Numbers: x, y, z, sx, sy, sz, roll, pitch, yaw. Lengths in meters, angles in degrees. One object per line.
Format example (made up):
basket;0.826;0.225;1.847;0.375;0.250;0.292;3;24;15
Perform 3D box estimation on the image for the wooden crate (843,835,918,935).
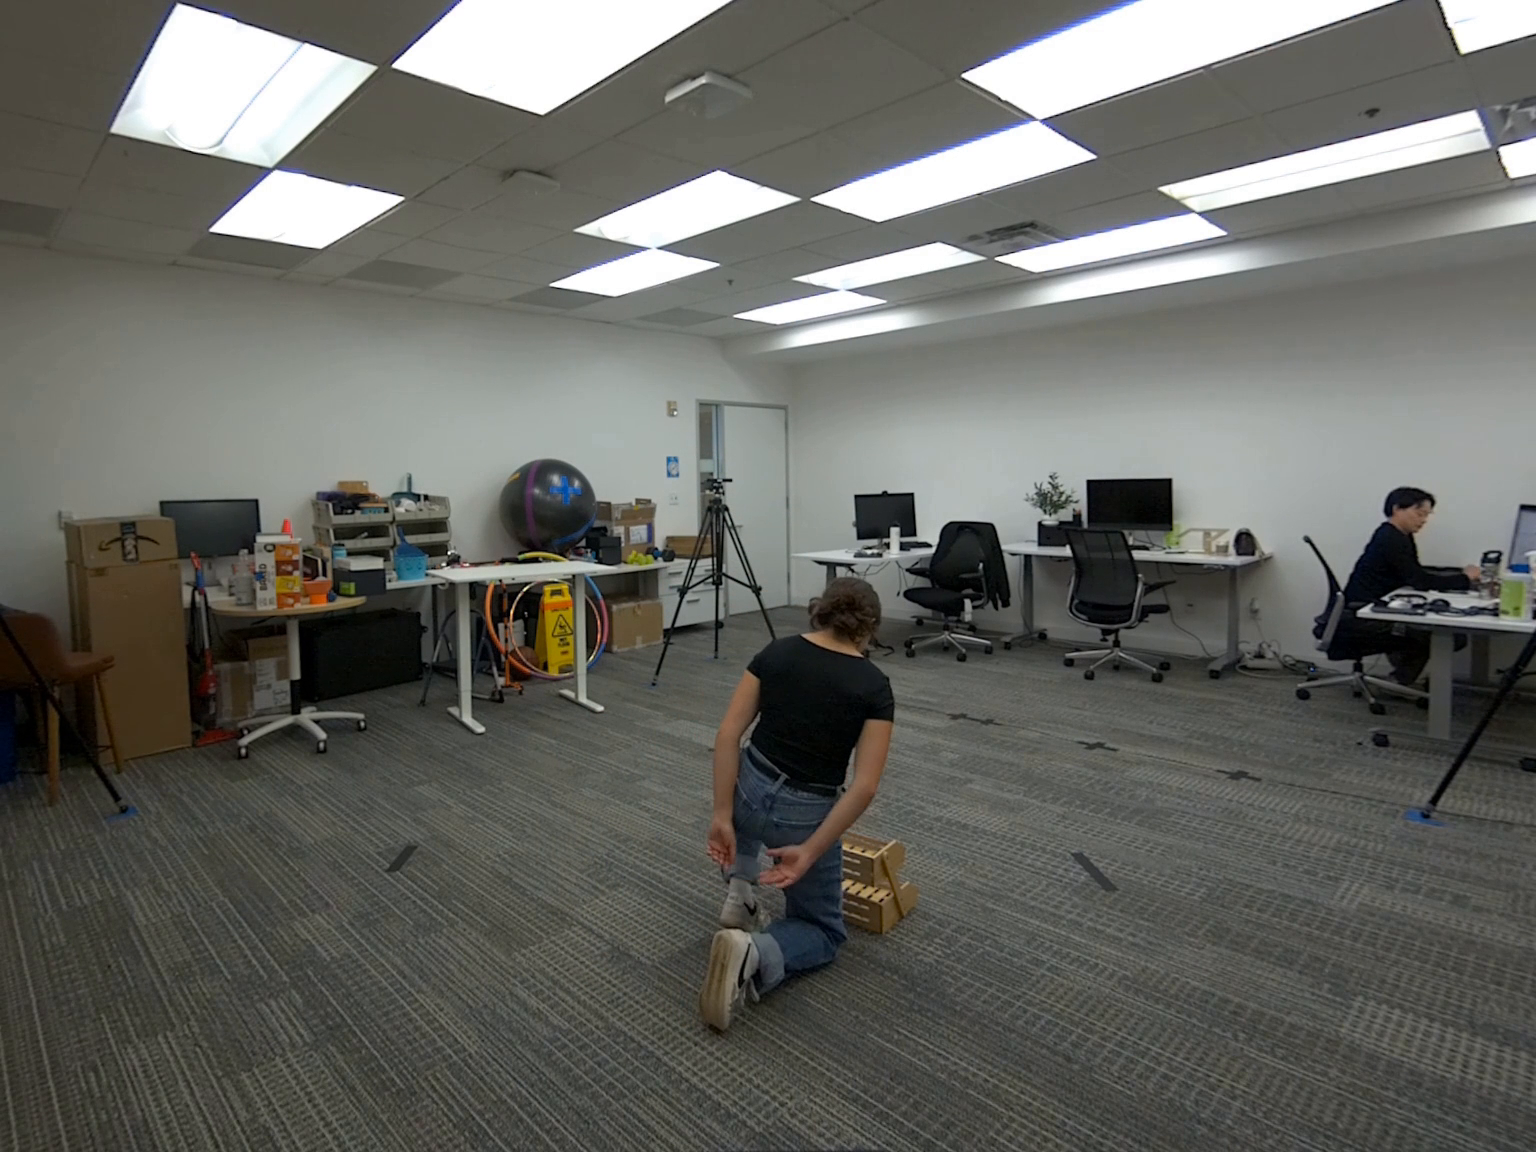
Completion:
wooden crate;0.288;0.945;2.772;0.334;0.272;0.295;3;7;37
